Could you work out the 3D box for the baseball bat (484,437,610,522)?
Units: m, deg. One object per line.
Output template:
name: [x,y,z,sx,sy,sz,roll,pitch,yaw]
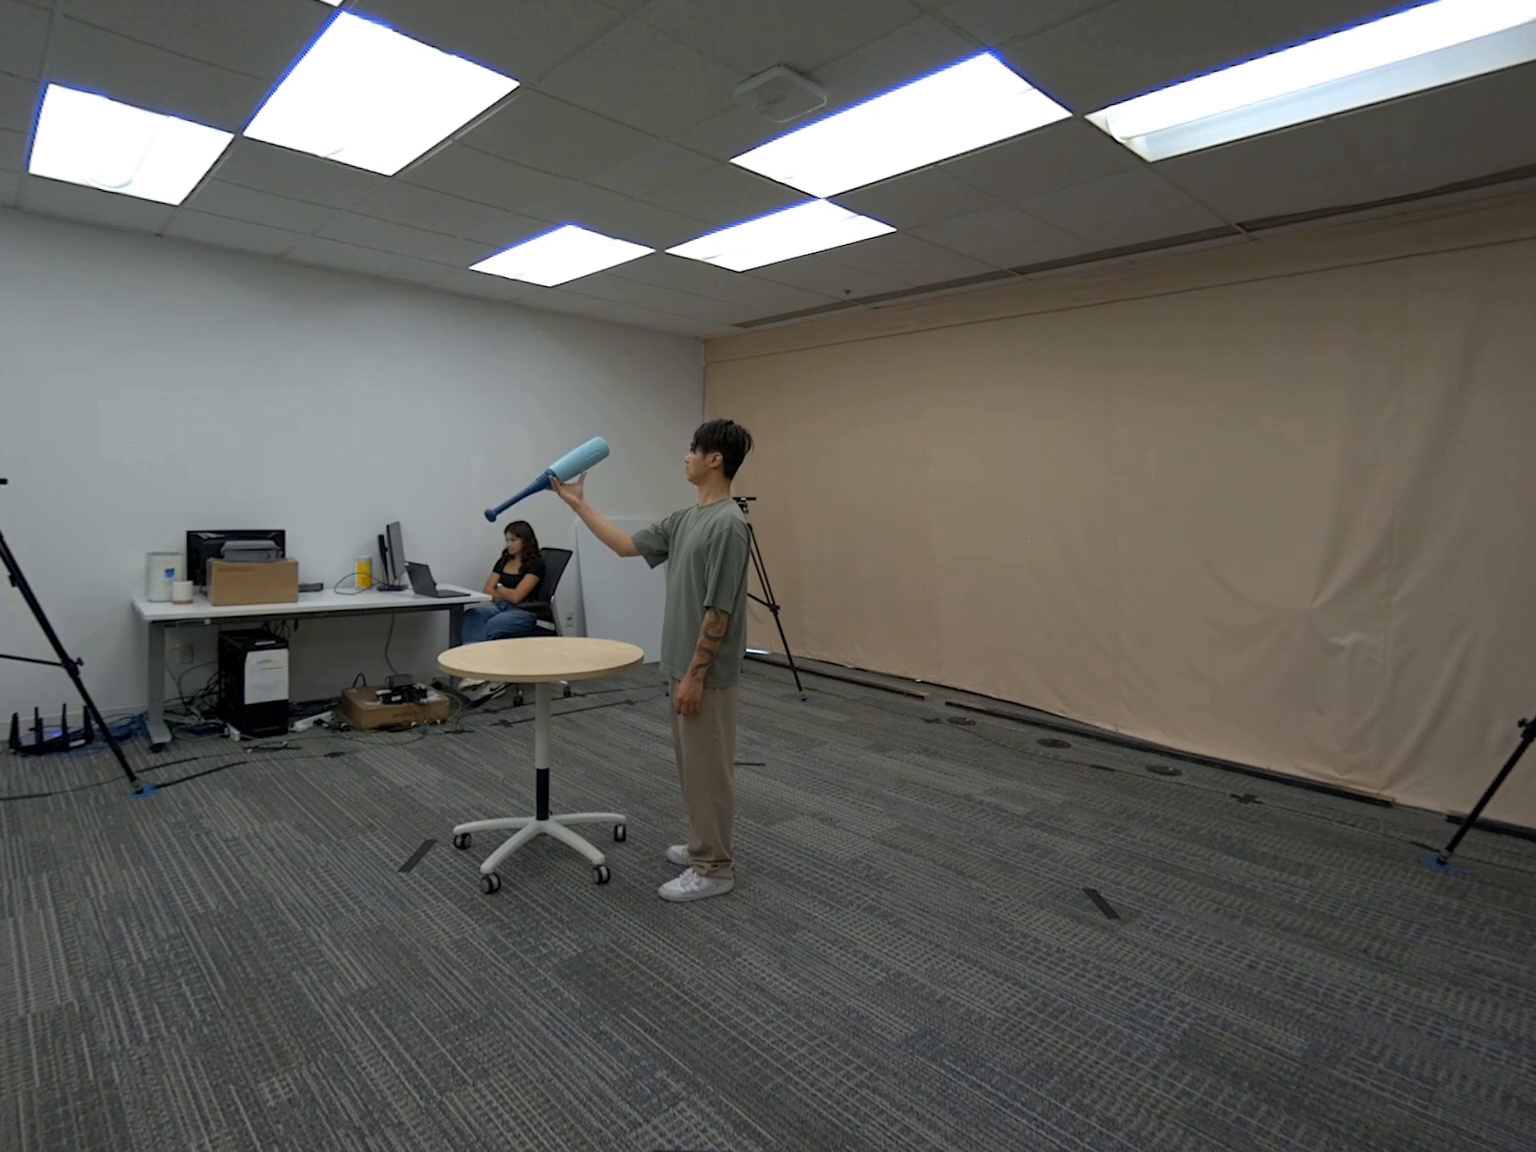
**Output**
baseball bat: [-0.806,-0.349,3.075,0.091,0.087,0.541,6,38,49]
